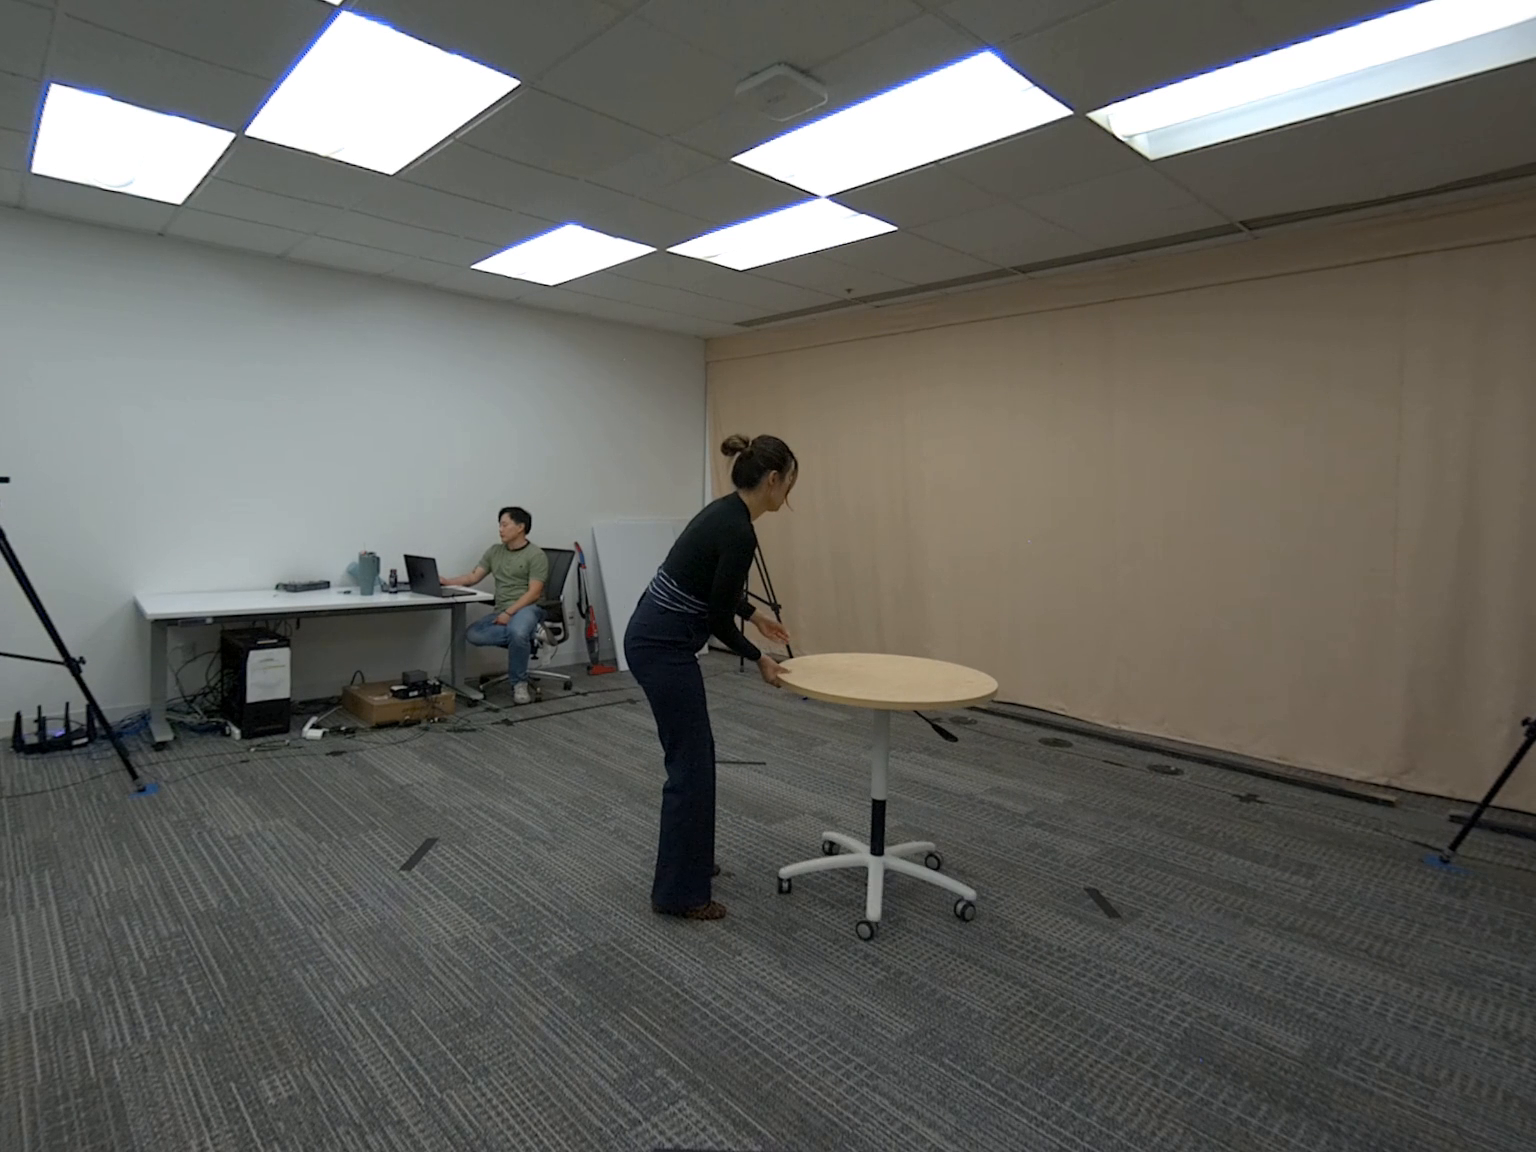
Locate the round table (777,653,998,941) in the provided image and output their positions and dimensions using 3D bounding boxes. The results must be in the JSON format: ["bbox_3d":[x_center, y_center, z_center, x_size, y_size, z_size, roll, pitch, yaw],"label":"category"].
[{"bbox_3d":[0.391,0.740,2.969,0.763,0.792,0.767,2,4,-2],"label":"round table"}]
